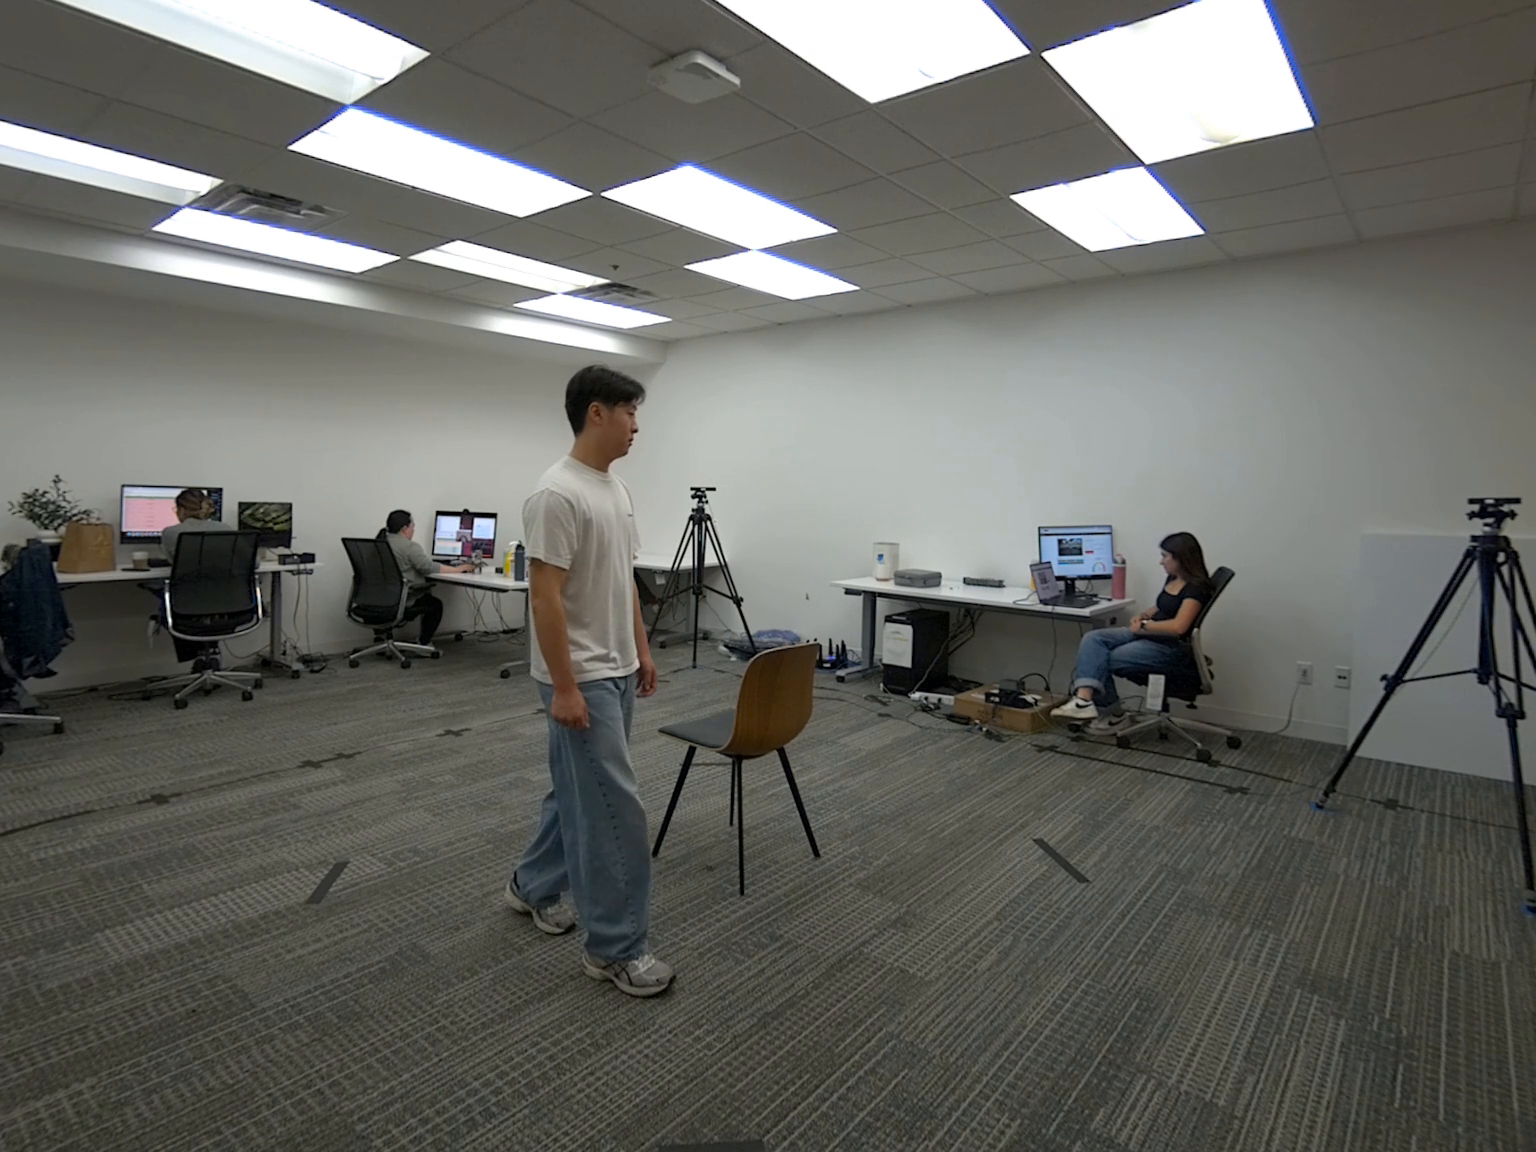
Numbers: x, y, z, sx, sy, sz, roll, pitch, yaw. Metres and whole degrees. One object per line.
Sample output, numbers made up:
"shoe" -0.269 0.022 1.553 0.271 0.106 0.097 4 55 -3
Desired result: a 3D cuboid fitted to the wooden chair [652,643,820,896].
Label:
"wooden chair" -0.123 0.632 3.194 0.542 0.873 0.463 10 8 41
